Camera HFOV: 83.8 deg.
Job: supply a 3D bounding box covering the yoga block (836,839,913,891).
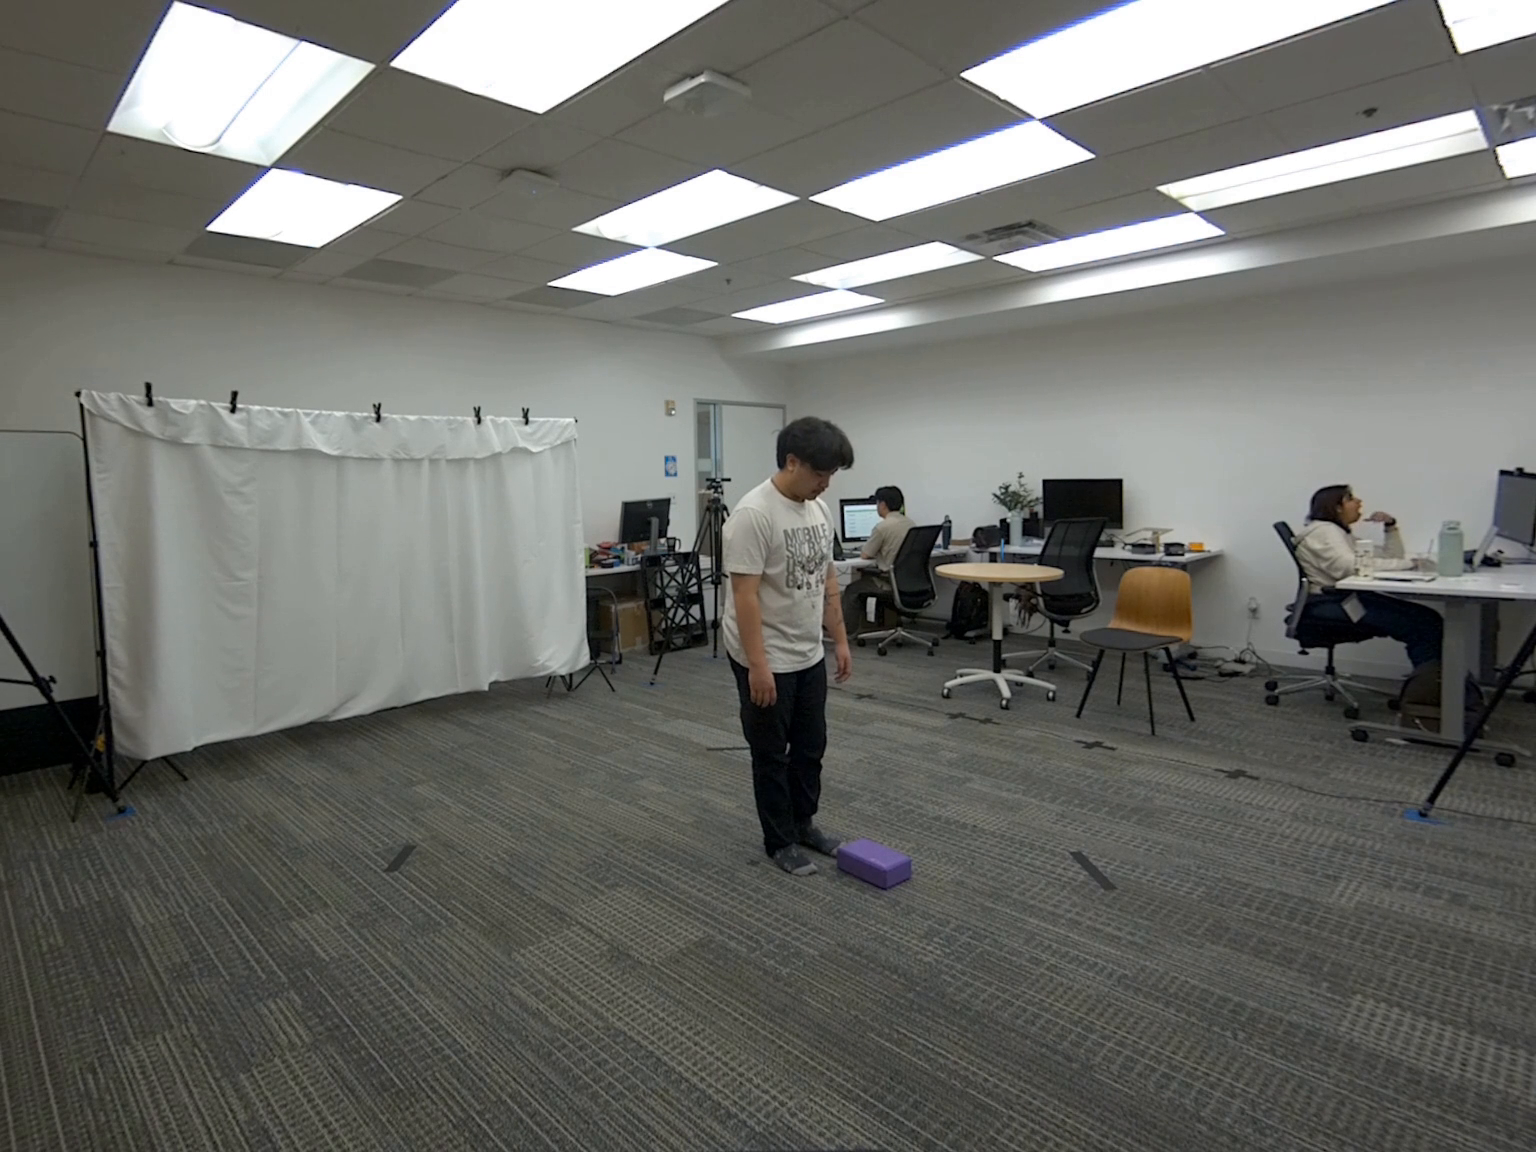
[{"bbox_3d":[0.373,1.007,3.005,0.145,0.076,0.236,-5,7,-41],"label":"yoga block"}]
